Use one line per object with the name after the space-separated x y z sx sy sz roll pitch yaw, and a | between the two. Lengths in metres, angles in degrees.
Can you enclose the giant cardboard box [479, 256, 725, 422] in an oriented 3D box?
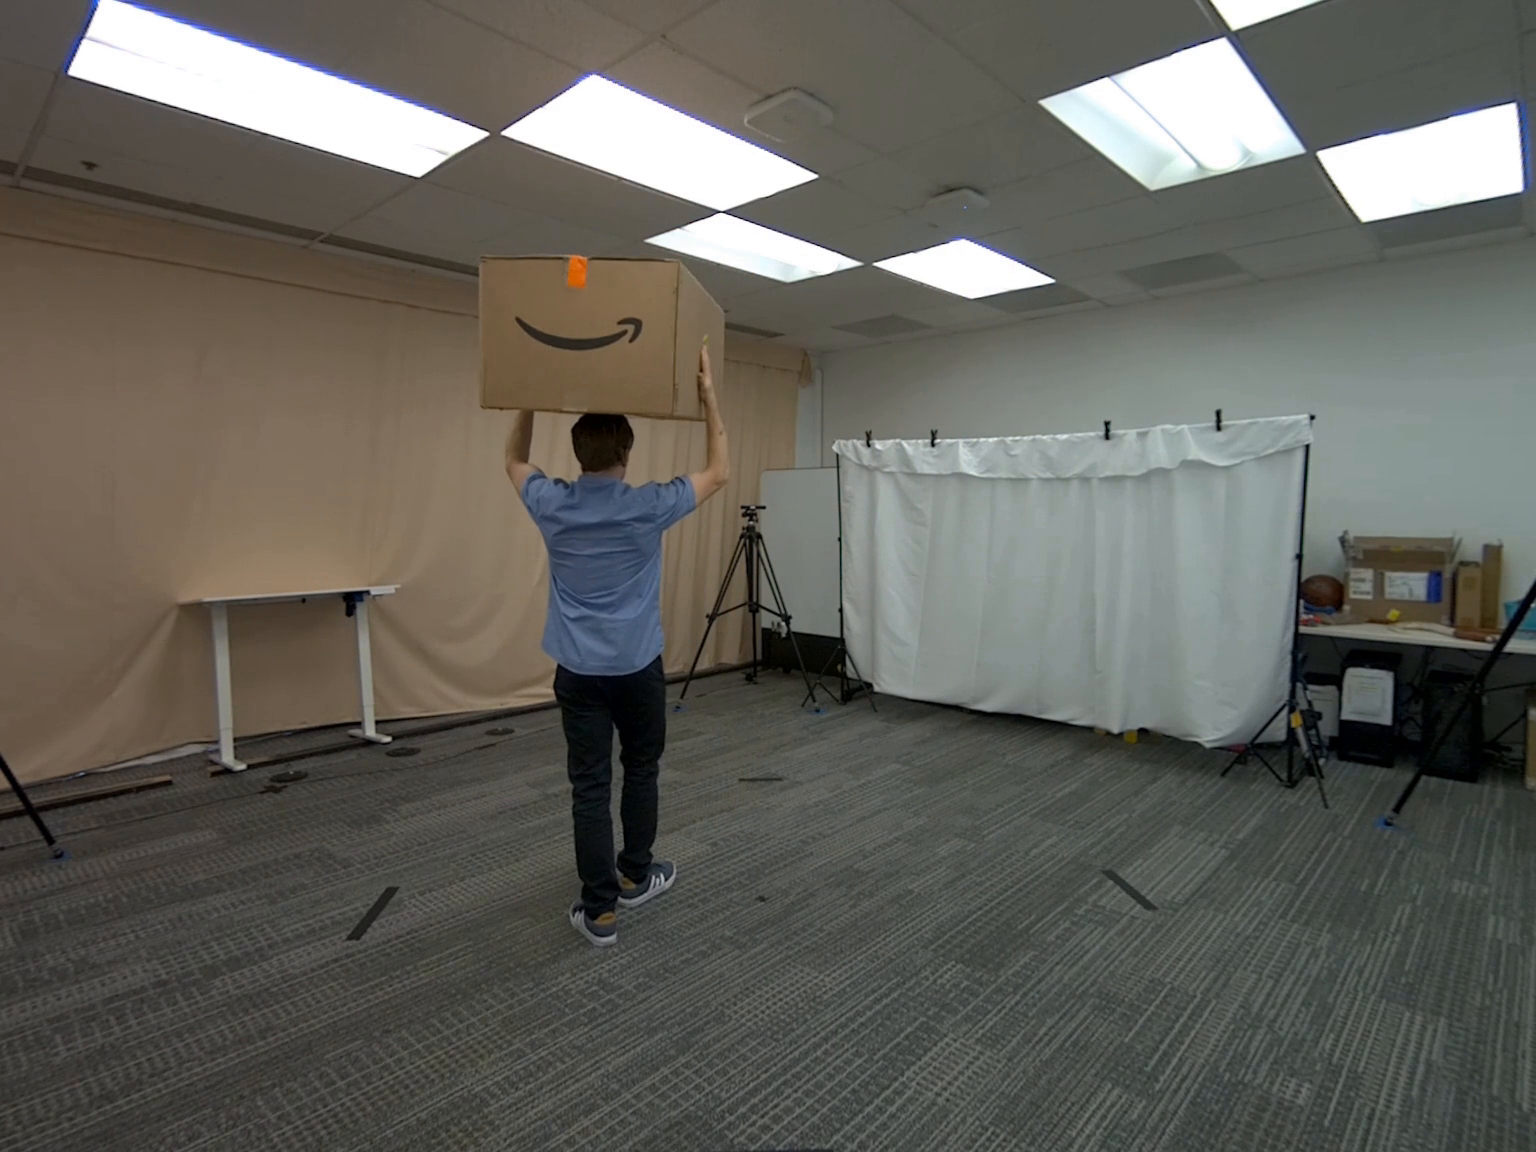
-0.495 -0.758 2.855 0.581 0.424 1.024 4 9 5 | giant cardboard box
